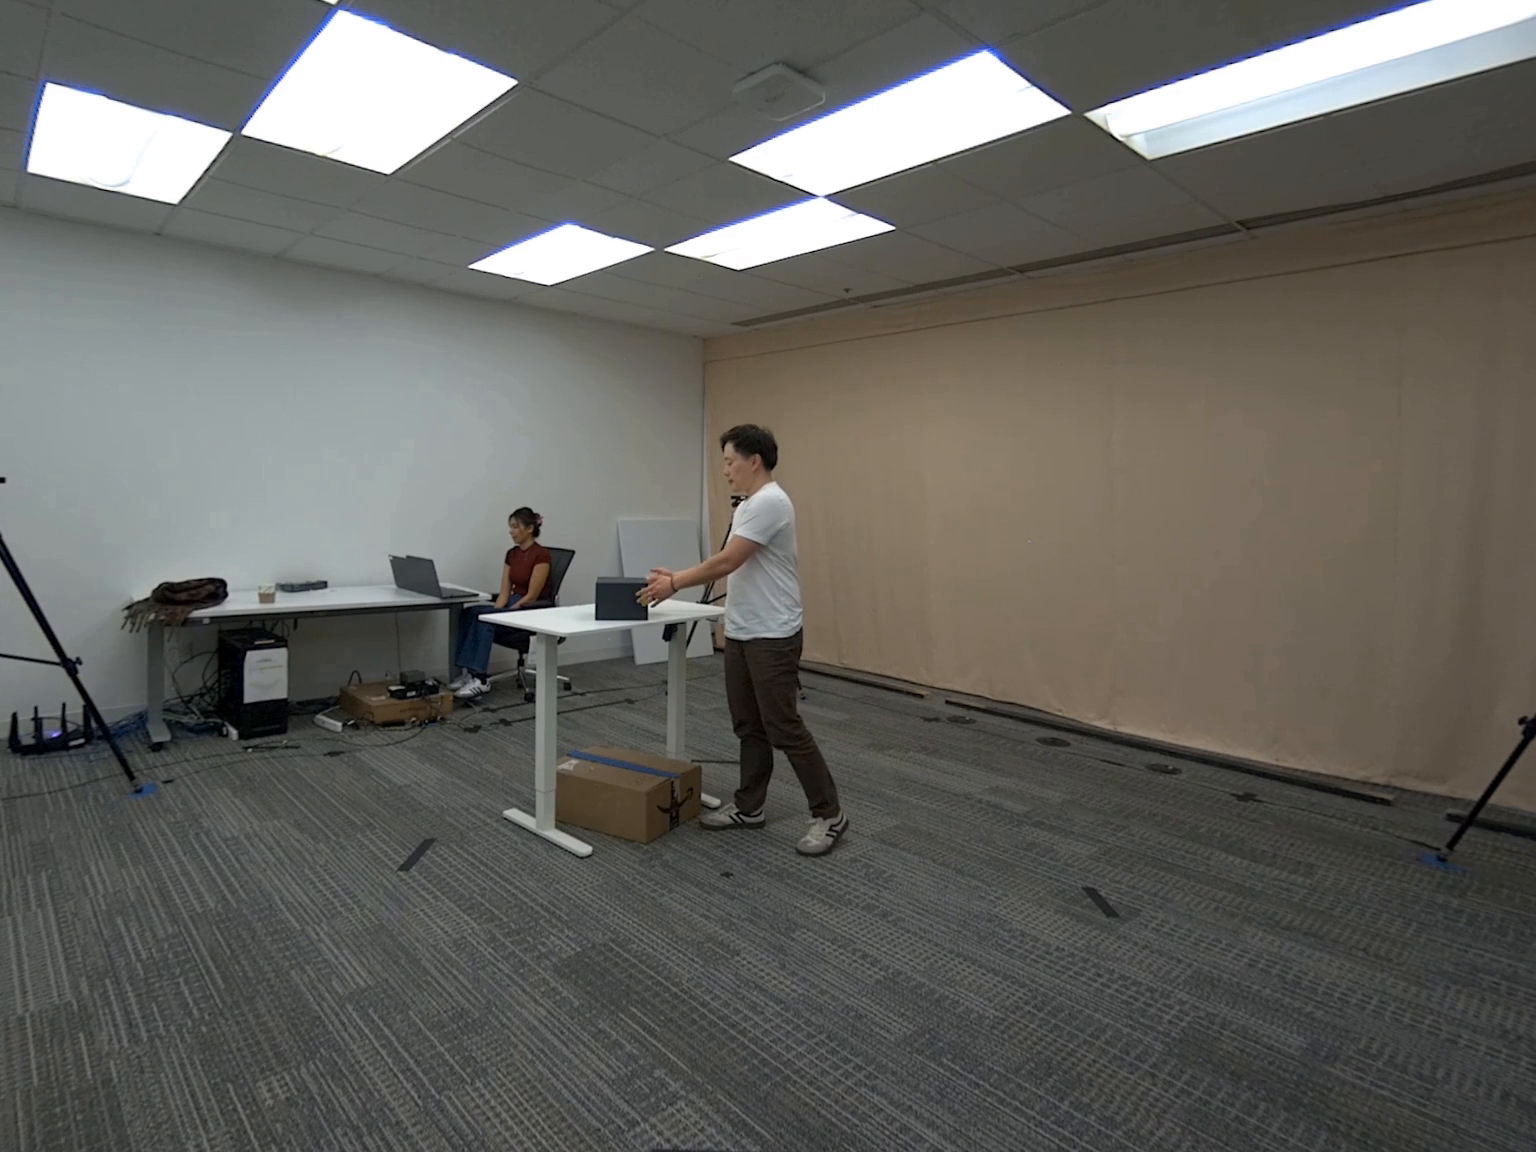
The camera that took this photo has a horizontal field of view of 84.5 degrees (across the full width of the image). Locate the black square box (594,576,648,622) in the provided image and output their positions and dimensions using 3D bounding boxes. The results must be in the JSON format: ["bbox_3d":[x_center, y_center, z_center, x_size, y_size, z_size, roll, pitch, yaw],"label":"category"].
[{"bbox_3d":[-0.621,0.090,3.531,0.215,0.155,0.230,0,5,-11],"label":"black square box"}]
